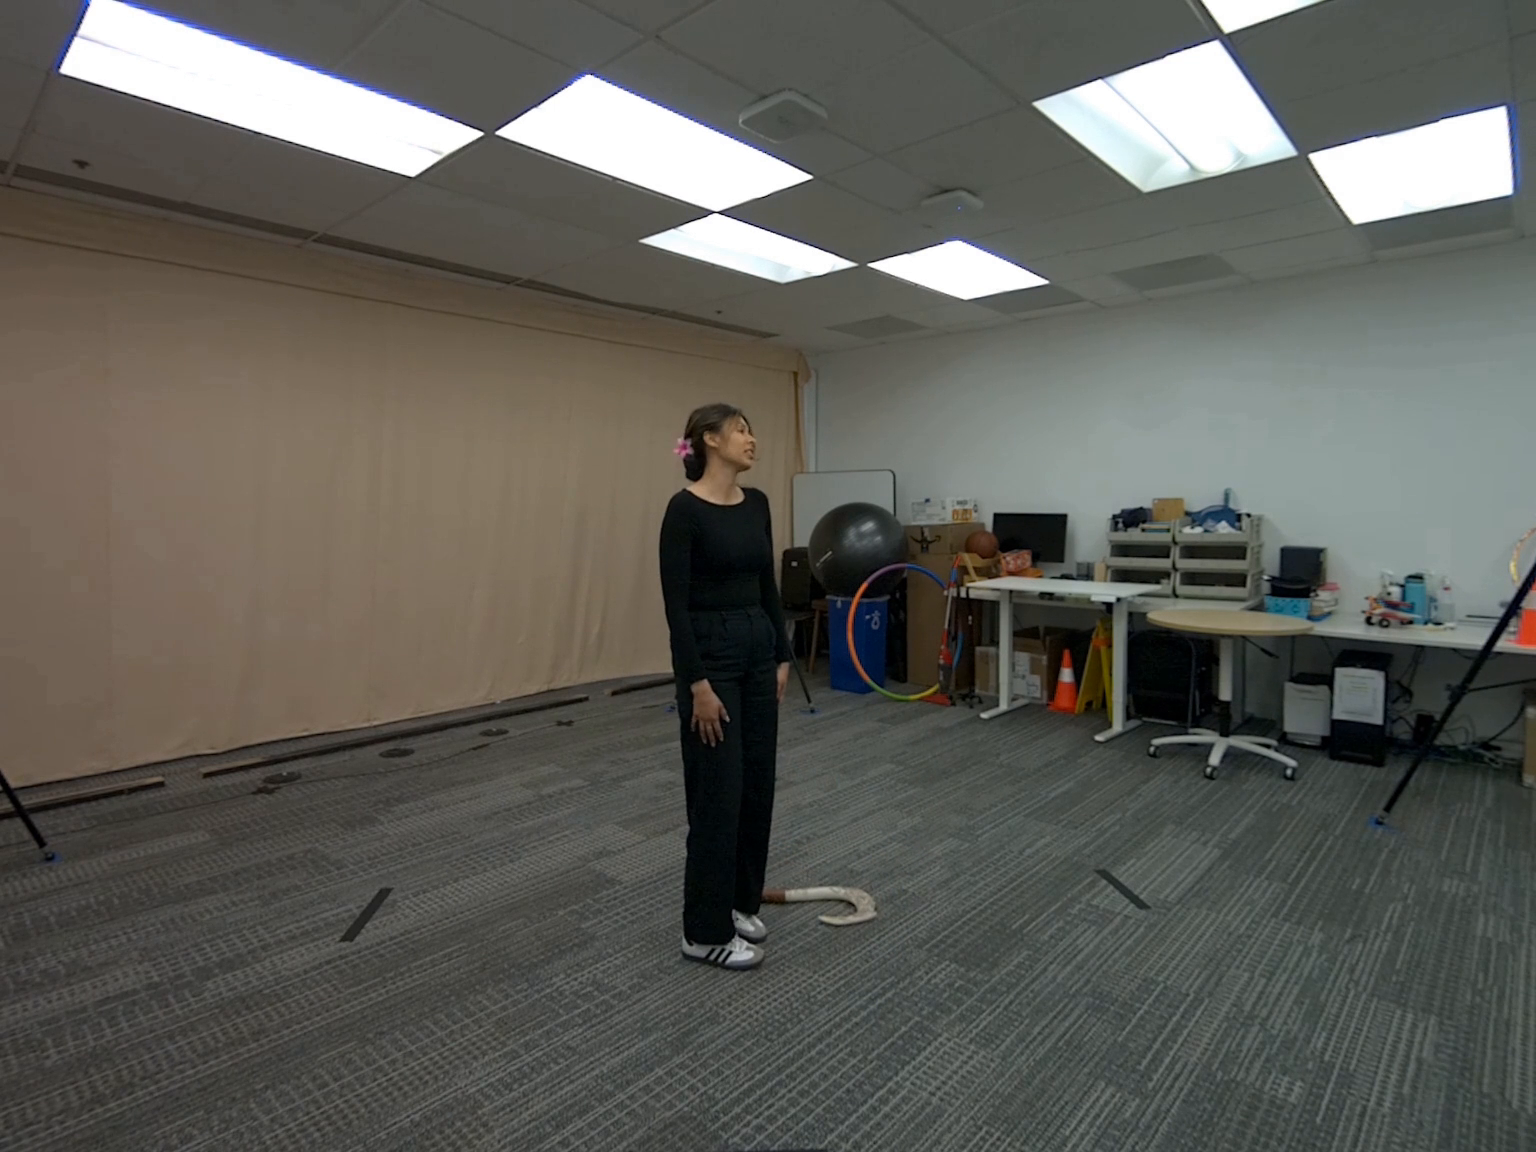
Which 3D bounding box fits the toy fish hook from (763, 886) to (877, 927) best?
[{"bbox_3d":[0.120,1.128,2.903,0.509,0.048,0.224,0,4,4],"label":"toy fish hook"}]
